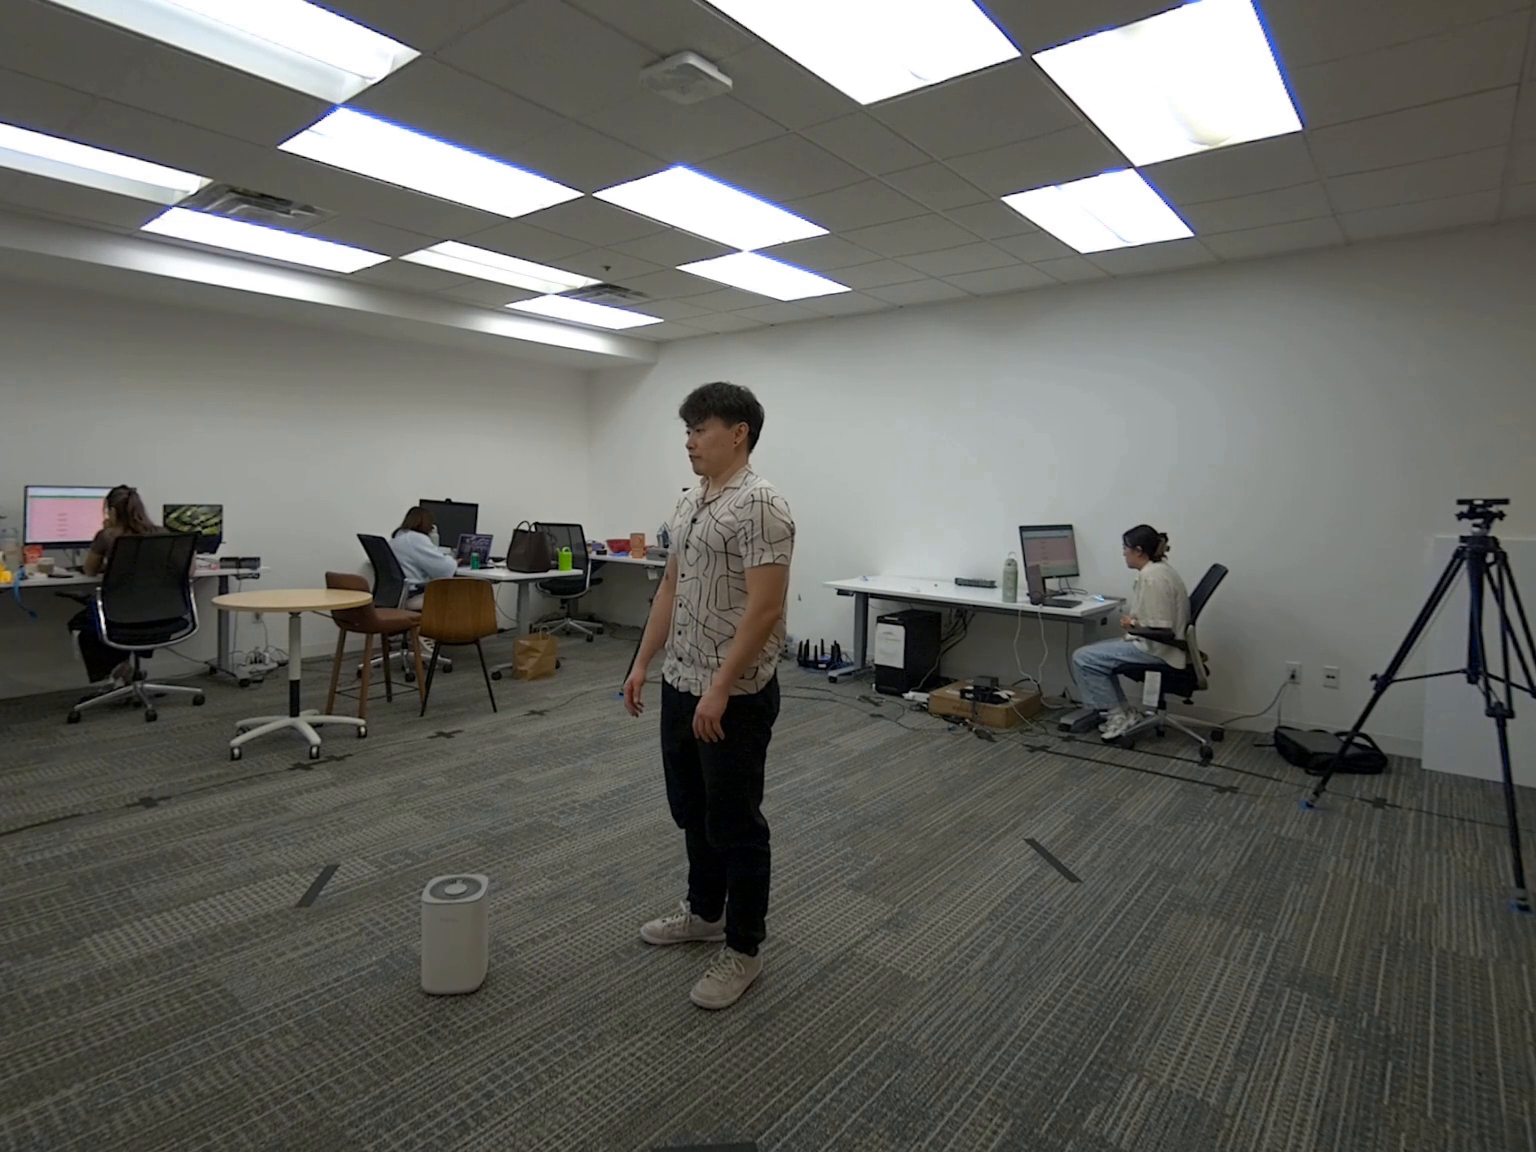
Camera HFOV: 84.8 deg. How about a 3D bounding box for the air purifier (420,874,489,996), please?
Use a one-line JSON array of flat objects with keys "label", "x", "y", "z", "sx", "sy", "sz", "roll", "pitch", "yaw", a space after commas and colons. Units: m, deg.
[{"label": "air purifier", "x": -0.883, "y": 0.997, "z": 2.378, "sx": 0.170, "sy": 0.265, "sz": 0.173, "roll": 0, "pitch": 3, "yaw": -9}]
